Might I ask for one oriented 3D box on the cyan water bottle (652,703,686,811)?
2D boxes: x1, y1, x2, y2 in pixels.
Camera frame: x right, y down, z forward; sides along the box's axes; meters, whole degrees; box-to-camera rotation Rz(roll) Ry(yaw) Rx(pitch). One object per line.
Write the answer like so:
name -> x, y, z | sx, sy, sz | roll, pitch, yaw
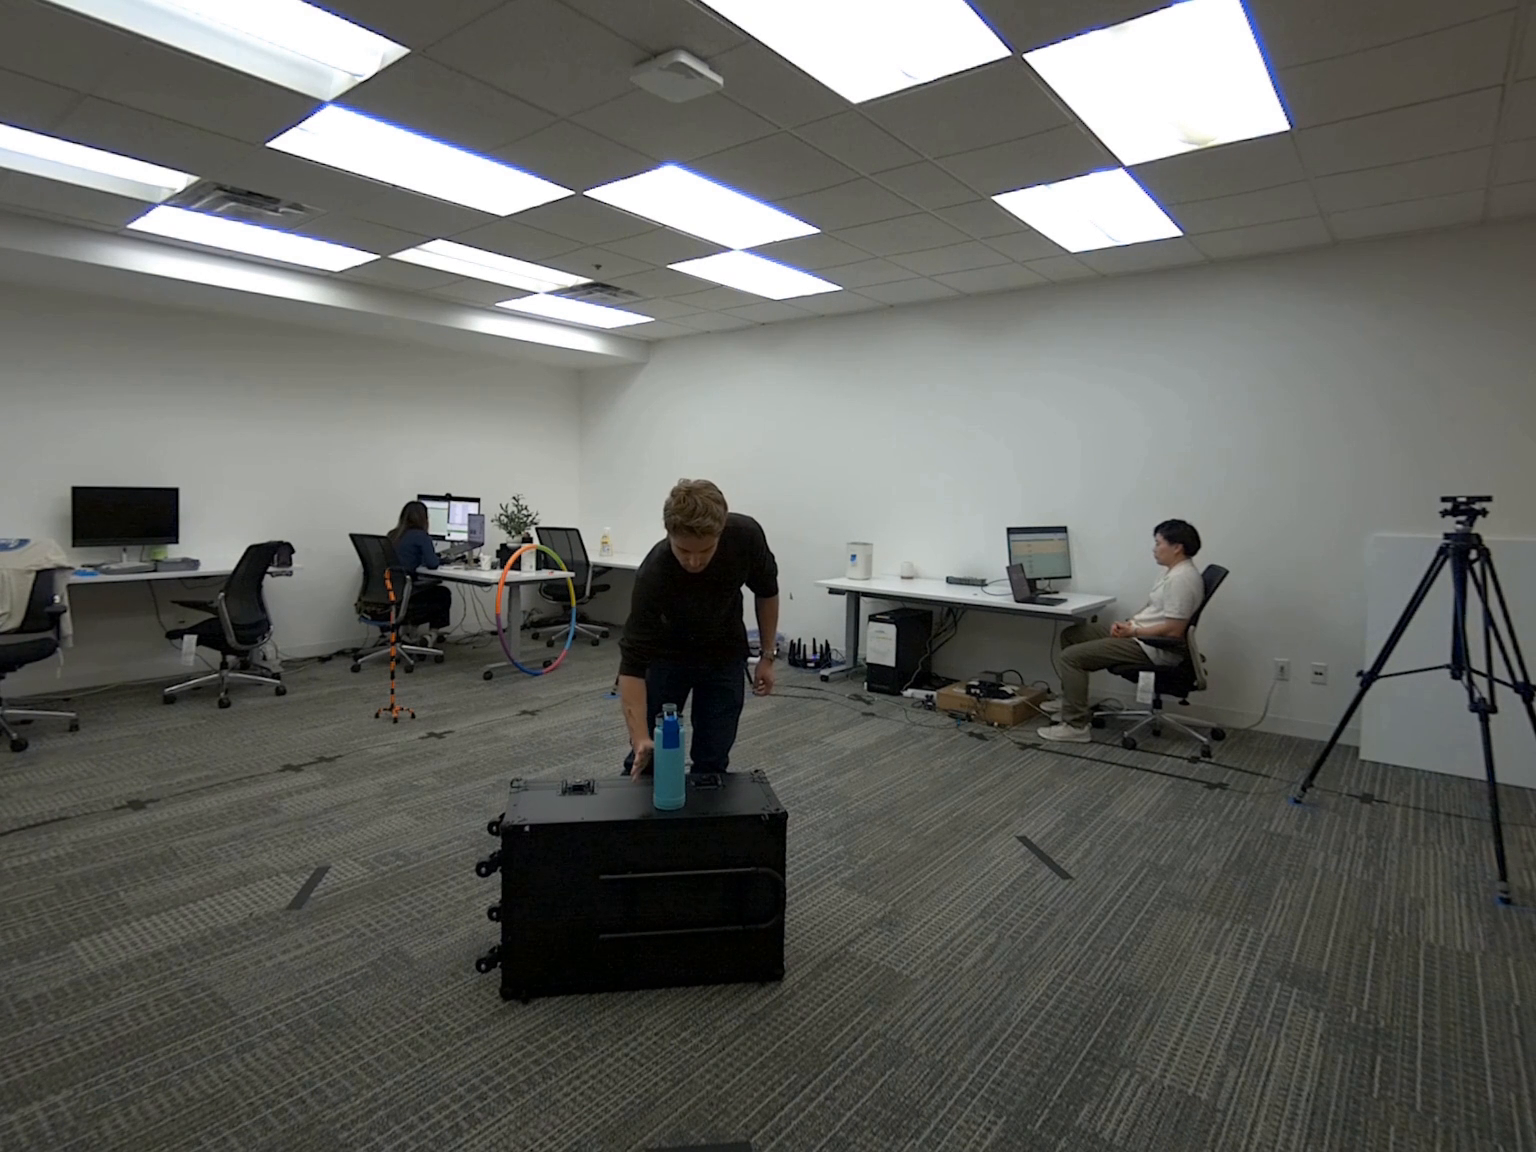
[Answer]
cyan water bottle -> -0.291, 0.508, 2.425 | 0.092, 0.282, 0.093 | 1, 4, -2
